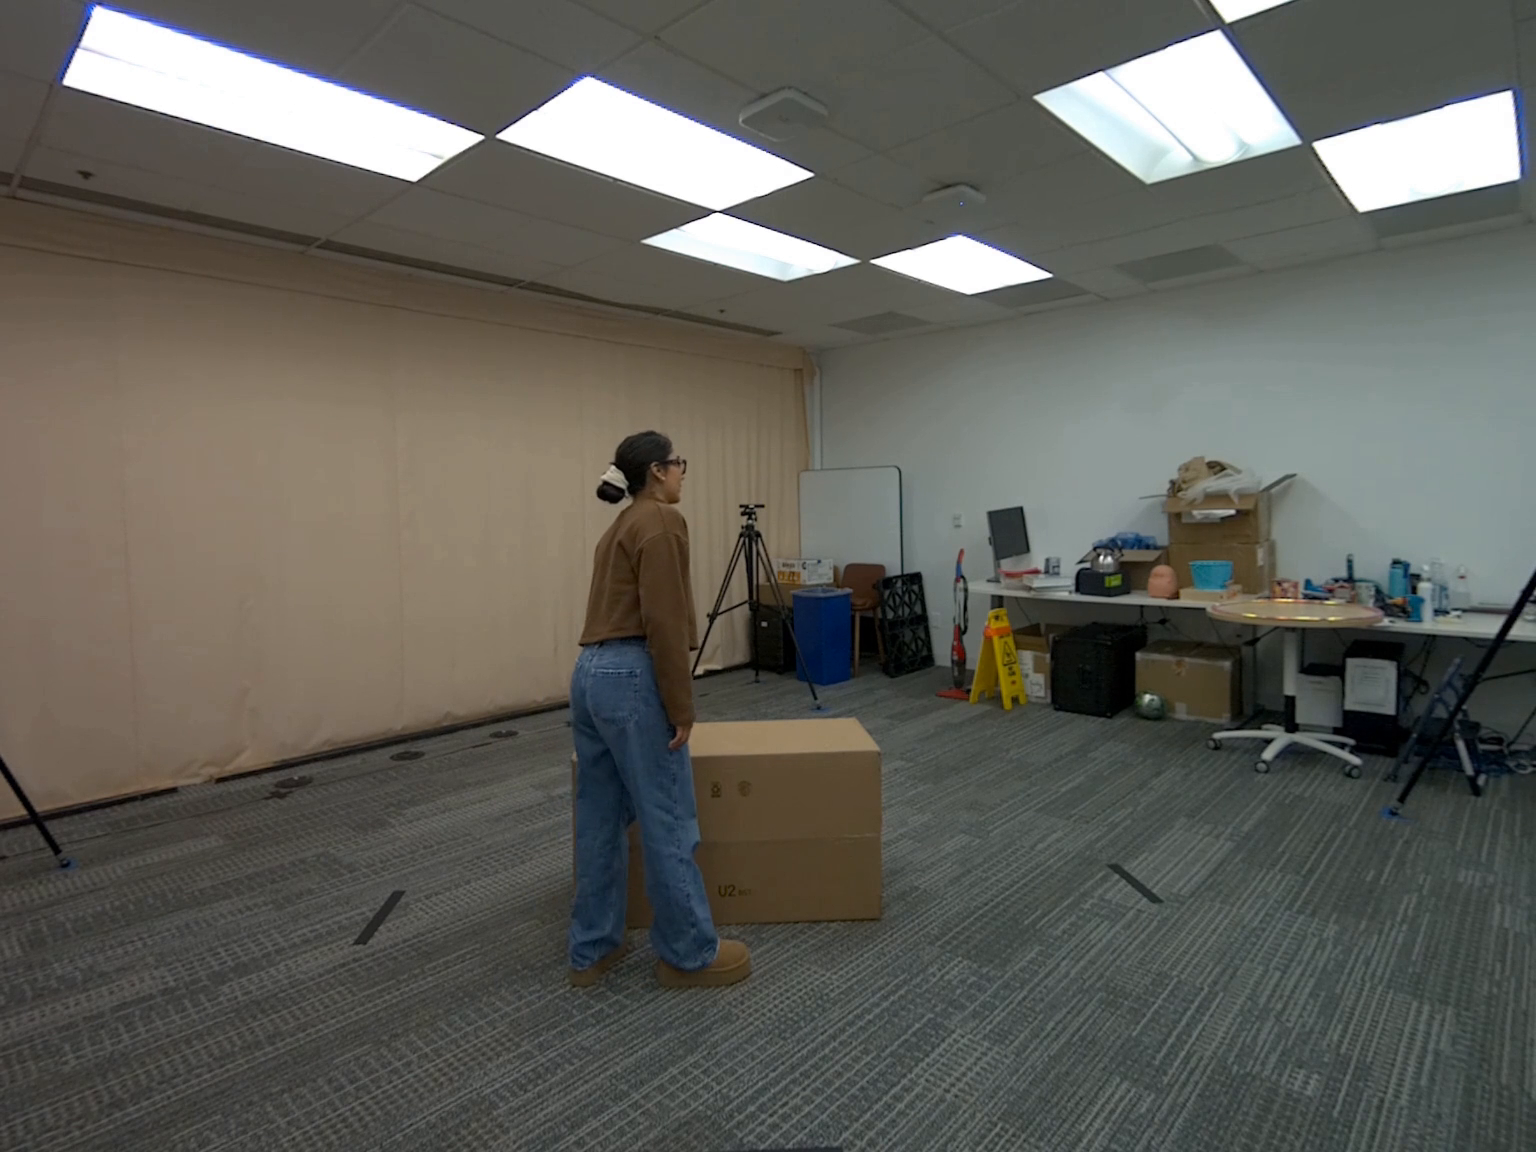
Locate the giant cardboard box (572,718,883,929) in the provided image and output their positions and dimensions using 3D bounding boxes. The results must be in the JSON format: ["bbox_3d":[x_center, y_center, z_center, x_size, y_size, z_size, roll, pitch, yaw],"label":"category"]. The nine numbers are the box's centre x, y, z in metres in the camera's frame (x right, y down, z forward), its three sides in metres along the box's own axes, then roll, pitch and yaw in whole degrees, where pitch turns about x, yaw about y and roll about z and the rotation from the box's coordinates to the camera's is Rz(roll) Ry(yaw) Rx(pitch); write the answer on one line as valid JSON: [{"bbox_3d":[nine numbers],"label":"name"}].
[{"bbox_3d":[-0.149,0.855,2.989,1.026,0.582,0.449,-1,5,-1],"label":"giant cardboard box"}]
